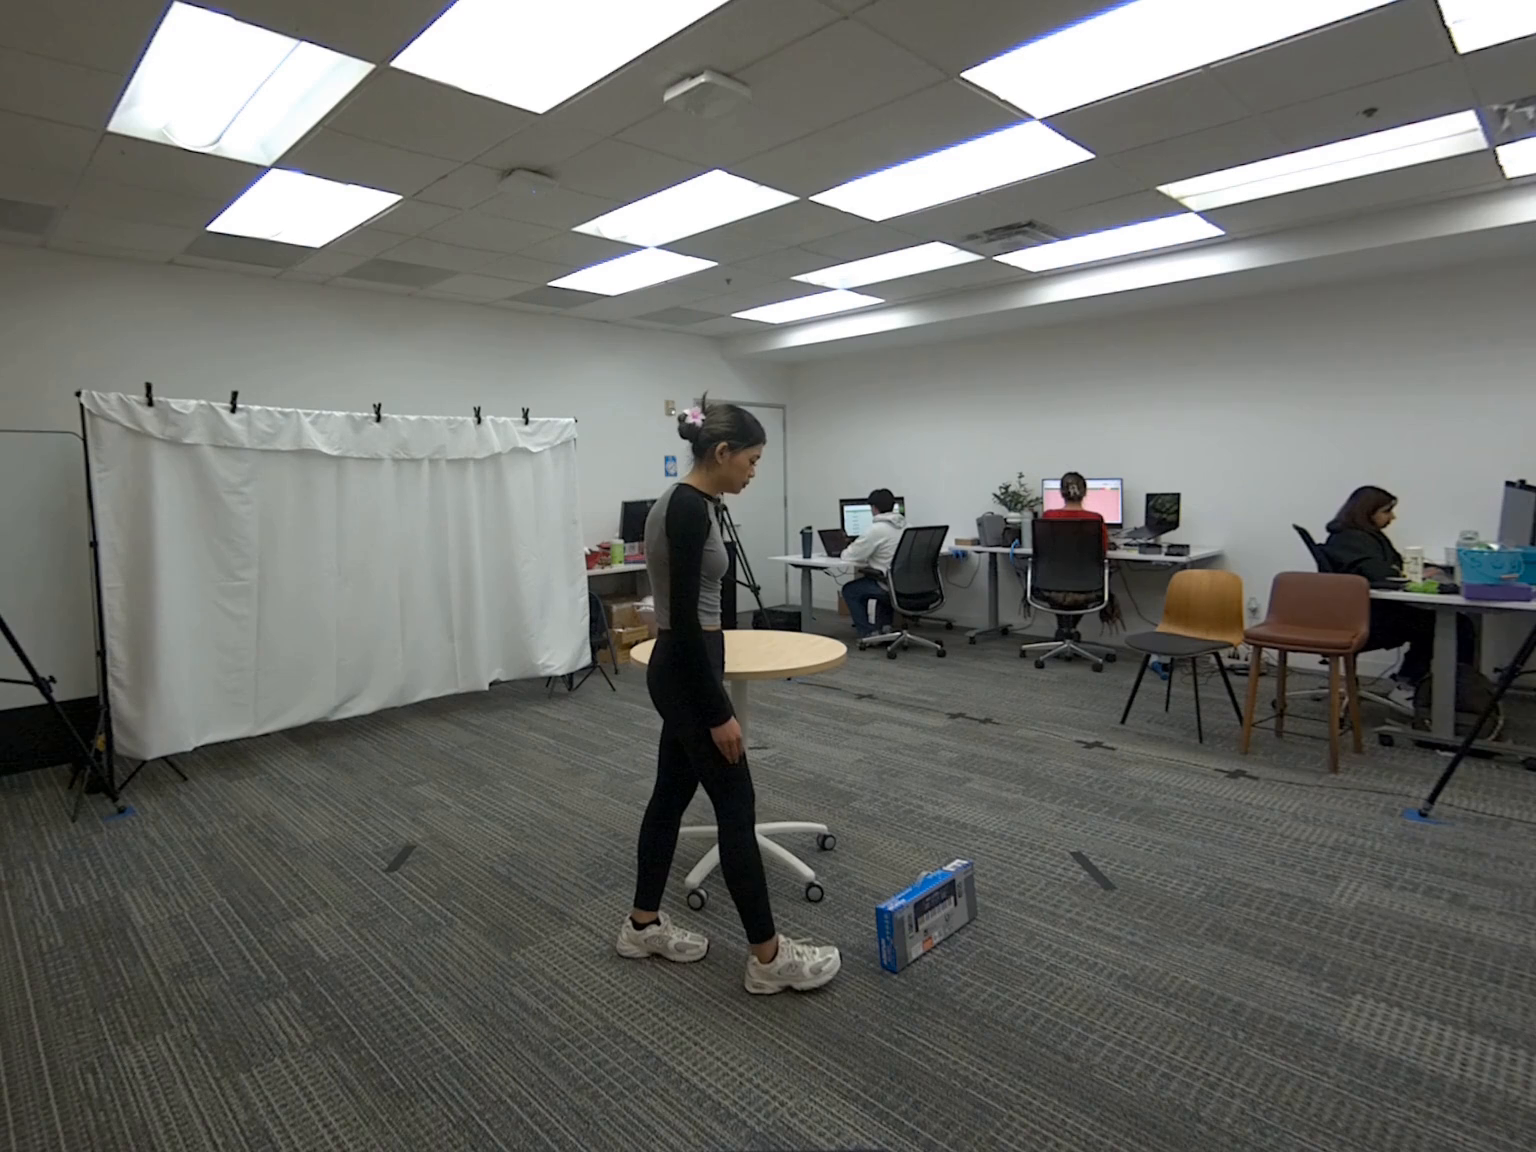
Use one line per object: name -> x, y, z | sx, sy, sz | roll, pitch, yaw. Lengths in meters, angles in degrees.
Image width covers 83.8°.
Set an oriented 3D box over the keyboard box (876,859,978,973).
keyboard box -> 0.489, 1.010, 2.562 | 0.425, 0.176, 0.061 | -7, 1, -45
